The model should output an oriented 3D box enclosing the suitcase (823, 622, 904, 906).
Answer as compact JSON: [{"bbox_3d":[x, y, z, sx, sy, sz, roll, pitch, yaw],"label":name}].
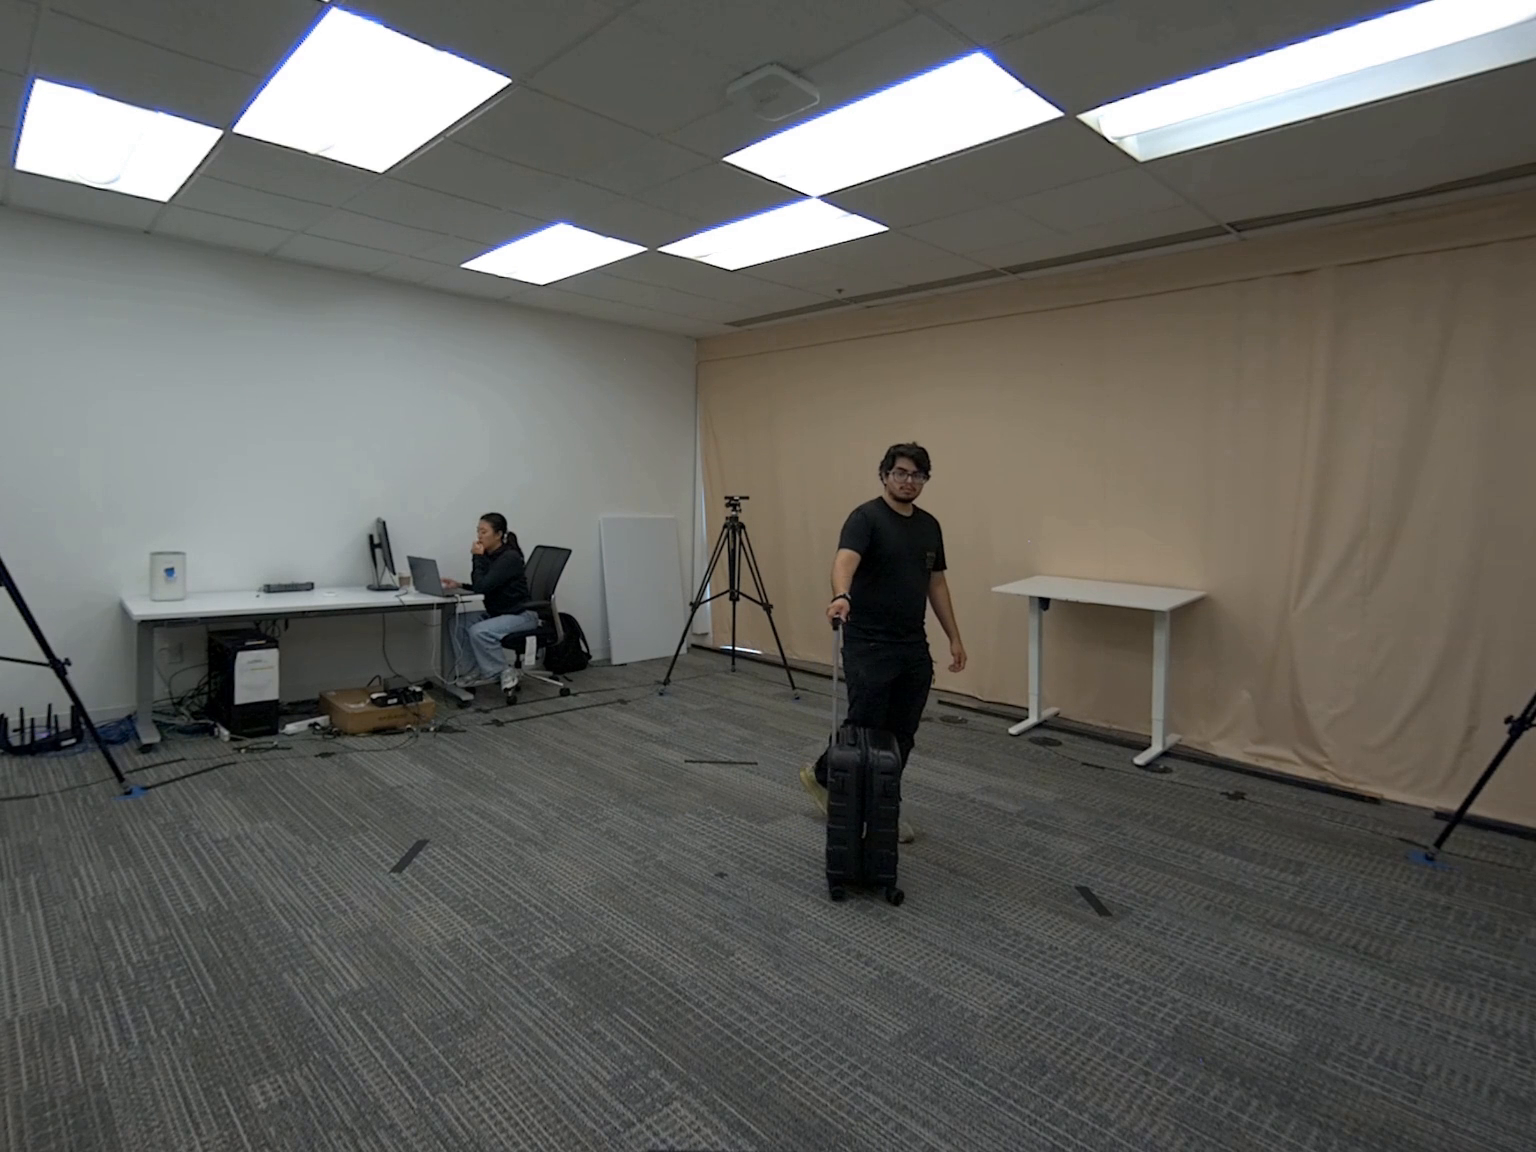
[{"bbox_3d":[0.342,0.639,3.042,0.258,0.976,0.383,3,3,4],"label":"suitcase"}]
